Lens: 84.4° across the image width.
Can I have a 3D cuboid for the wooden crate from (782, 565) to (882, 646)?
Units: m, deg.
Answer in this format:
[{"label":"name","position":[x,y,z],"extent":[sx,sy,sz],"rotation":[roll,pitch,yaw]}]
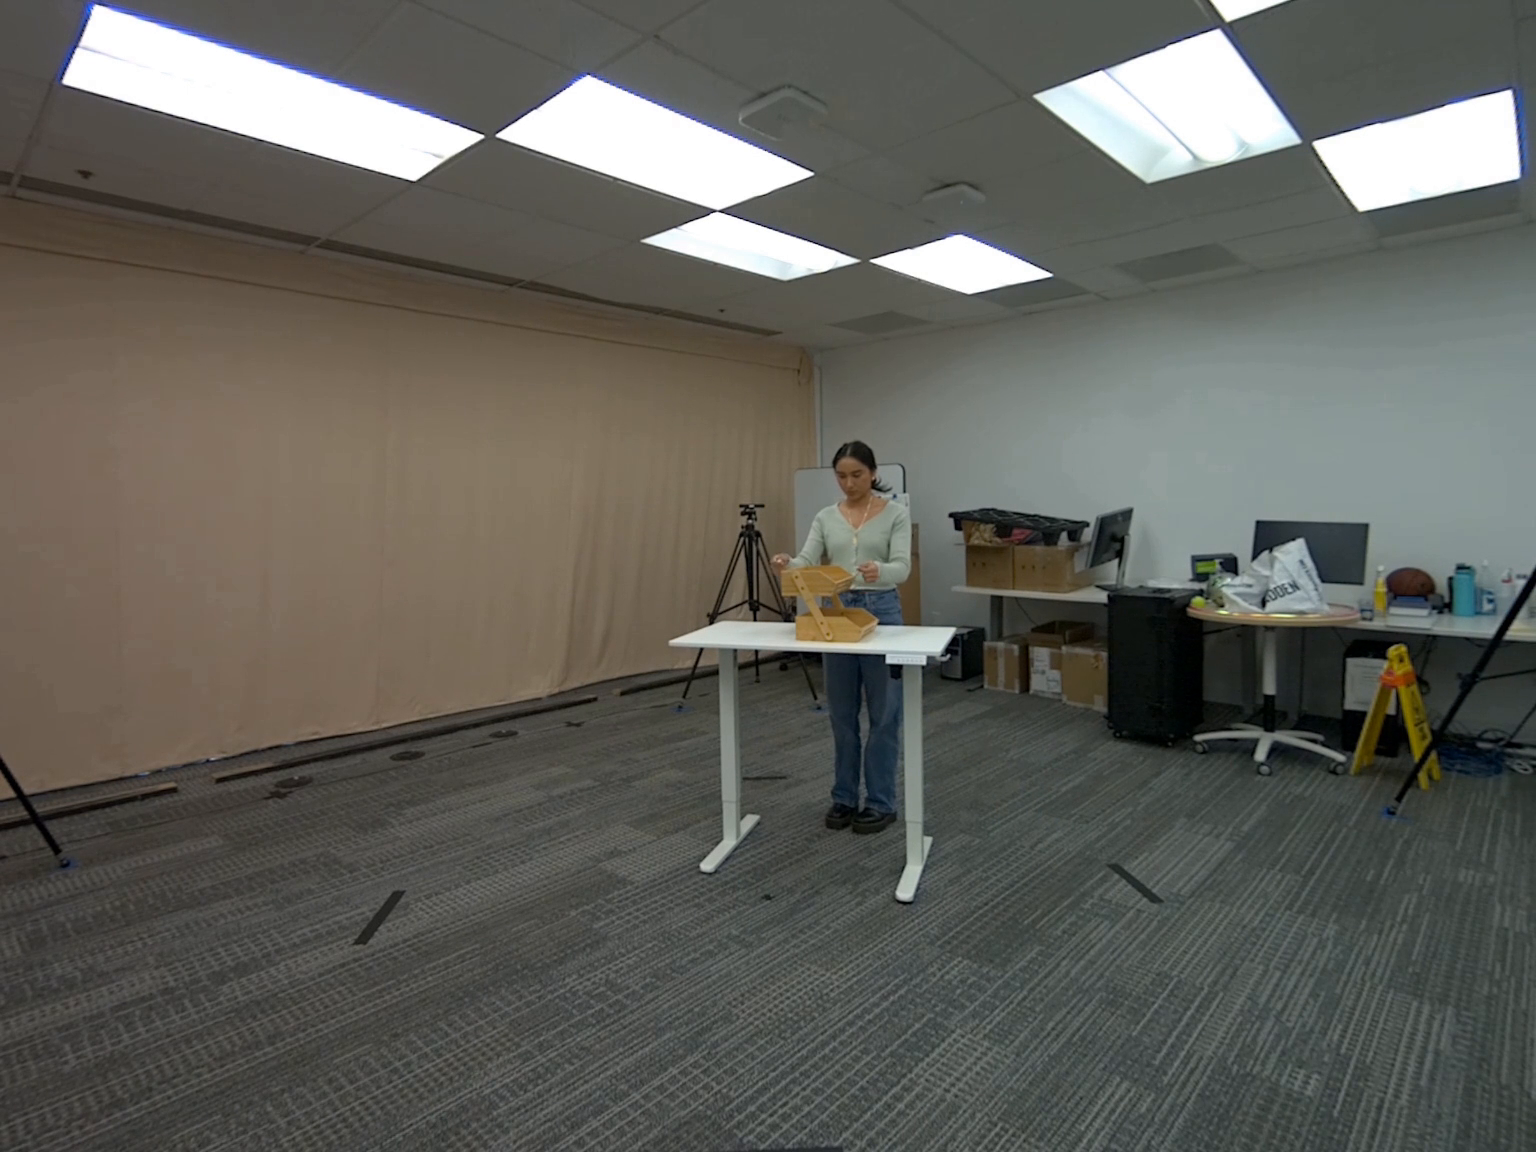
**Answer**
[{"label":"wooden crate","position":[0.249,0.098,3.223],"extent":[0.308,0.273,0.318],"rotation":[-1,4,19]}]
